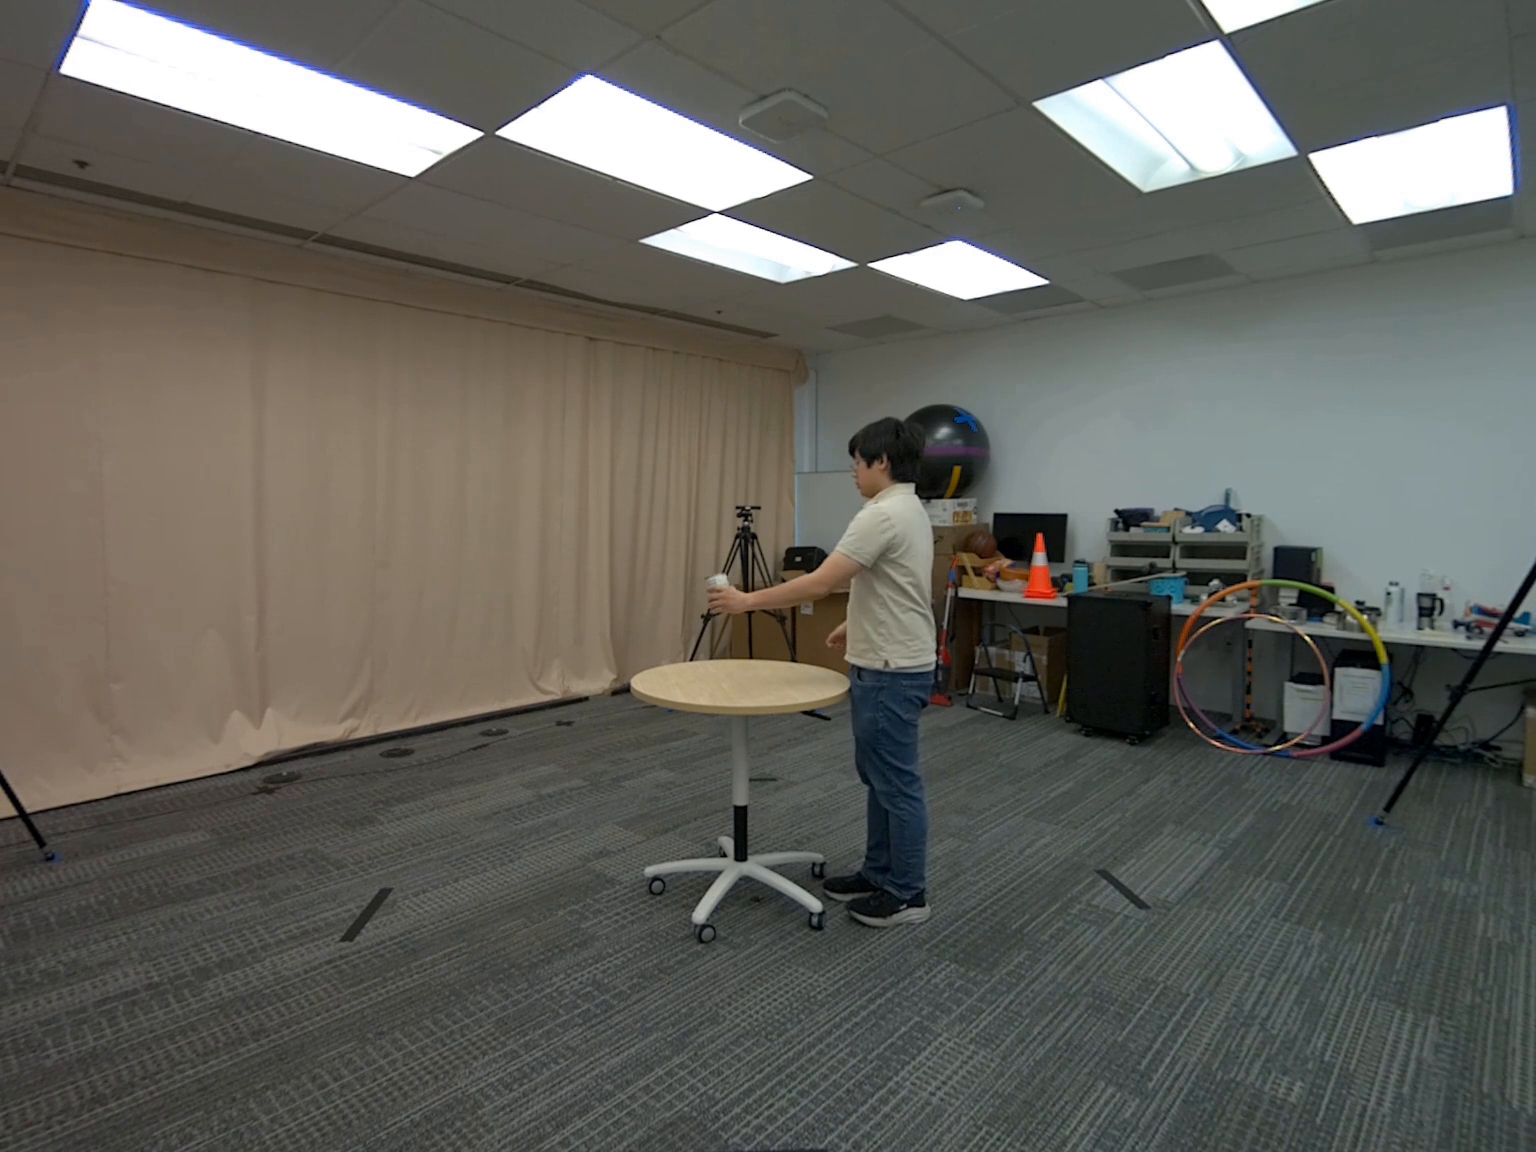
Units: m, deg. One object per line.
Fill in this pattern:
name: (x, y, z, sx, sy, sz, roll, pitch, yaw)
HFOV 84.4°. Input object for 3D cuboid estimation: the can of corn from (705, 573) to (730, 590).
can of corn: (-0.160, 0.068, 2.838, 0.074, 0.111, 0.074, -7, -2, -2)
